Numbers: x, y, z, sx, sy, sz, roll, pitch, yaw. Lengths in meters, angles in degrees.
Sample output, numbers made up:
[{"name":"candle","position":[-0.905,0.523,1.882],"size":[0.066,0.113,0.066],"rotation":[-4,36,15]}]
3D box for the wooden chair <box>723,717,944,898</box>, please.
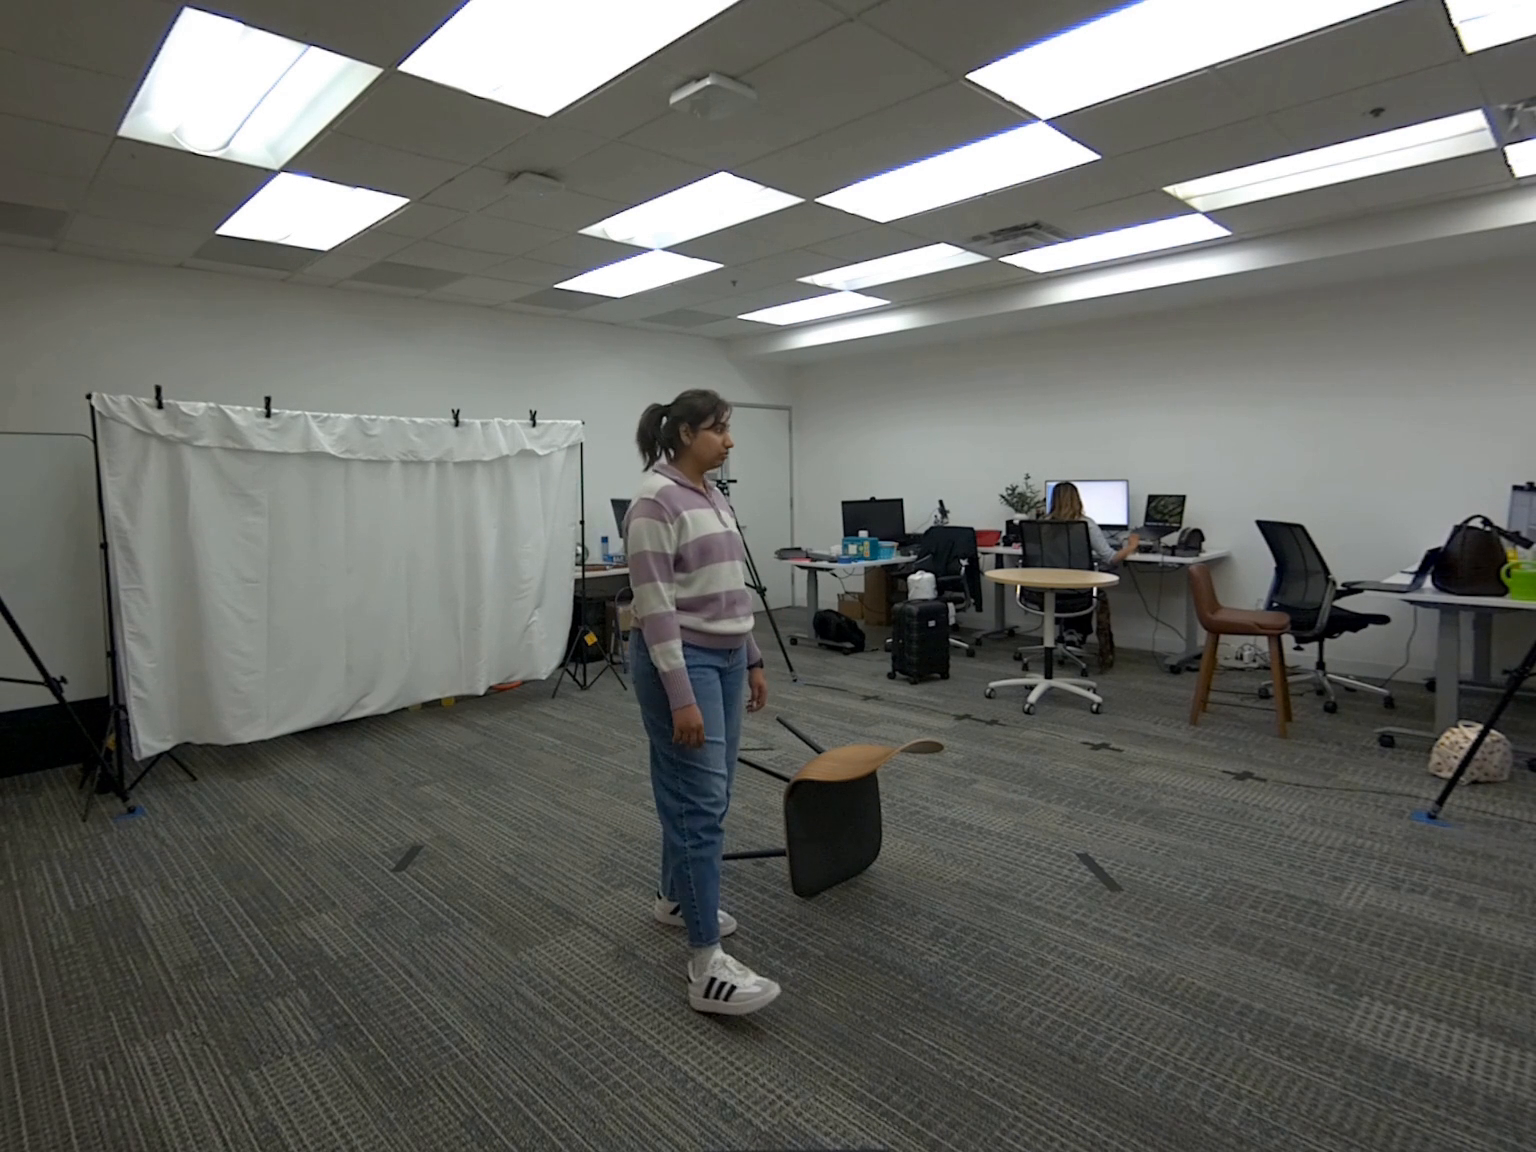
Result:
[{"name":"wooden chair","position":[0.198,0.807,2.952],"size":[0.465,0.525,0.899],"rotation":[-4,-2,-42]}]
